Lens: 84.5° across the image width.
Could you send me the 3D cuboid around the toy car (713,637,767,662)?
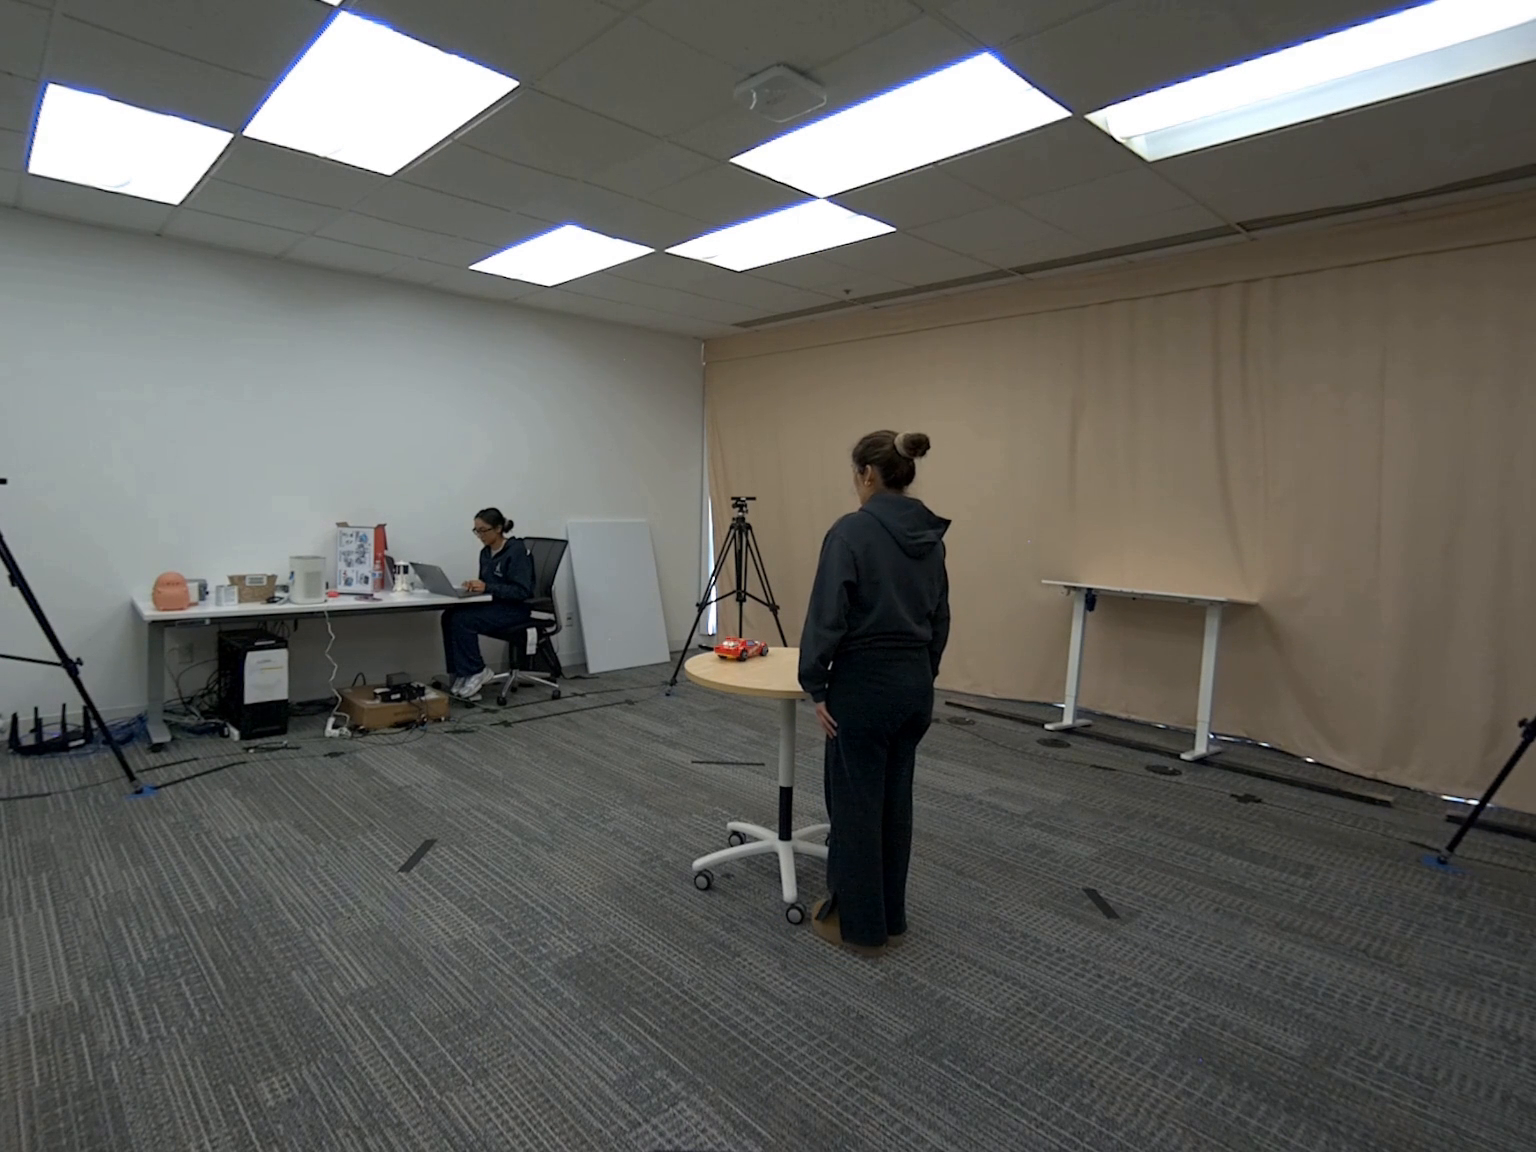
[{"bbox_3d":[-0.117,0.283,3.217,0.133,0.083,0.248,6,-5,33],"label":"toy car"}]
